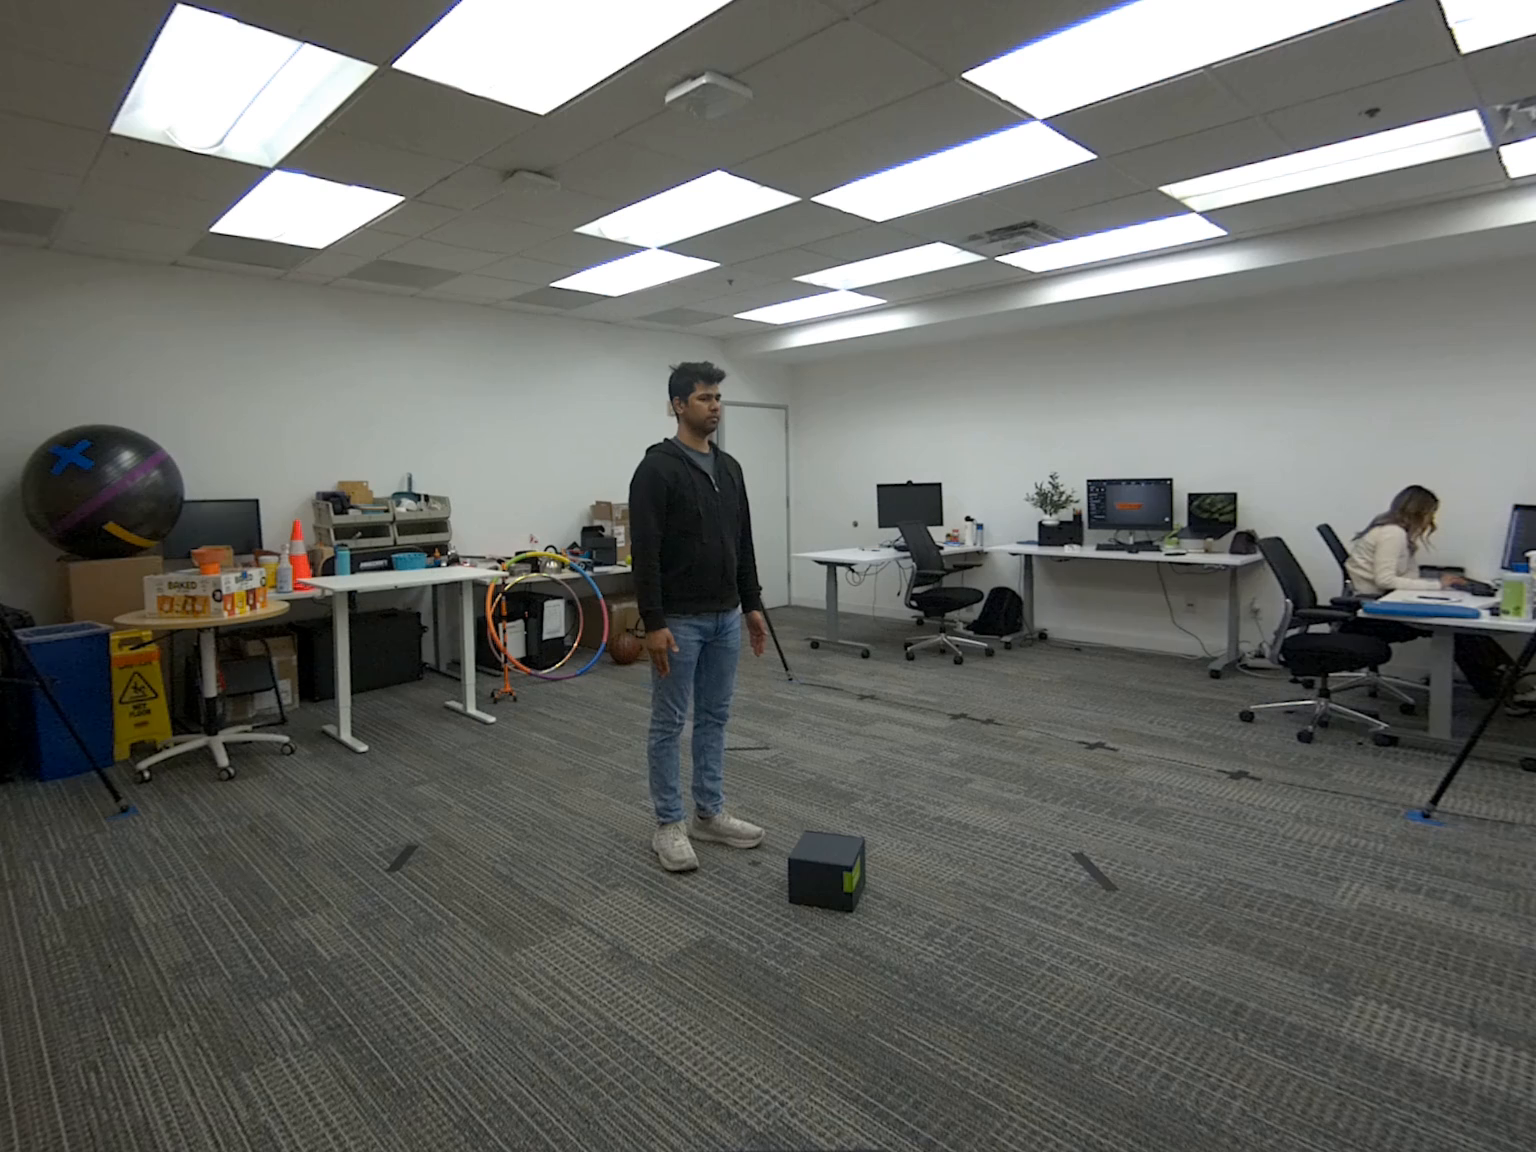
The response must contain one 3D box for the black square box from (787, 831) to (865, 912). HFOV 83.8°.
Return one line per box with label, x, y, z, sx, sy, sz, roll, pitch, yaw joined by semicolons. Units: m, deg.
black square box;0.206;0.980;2.869;0.221;0.155;0.225;0;6;19
